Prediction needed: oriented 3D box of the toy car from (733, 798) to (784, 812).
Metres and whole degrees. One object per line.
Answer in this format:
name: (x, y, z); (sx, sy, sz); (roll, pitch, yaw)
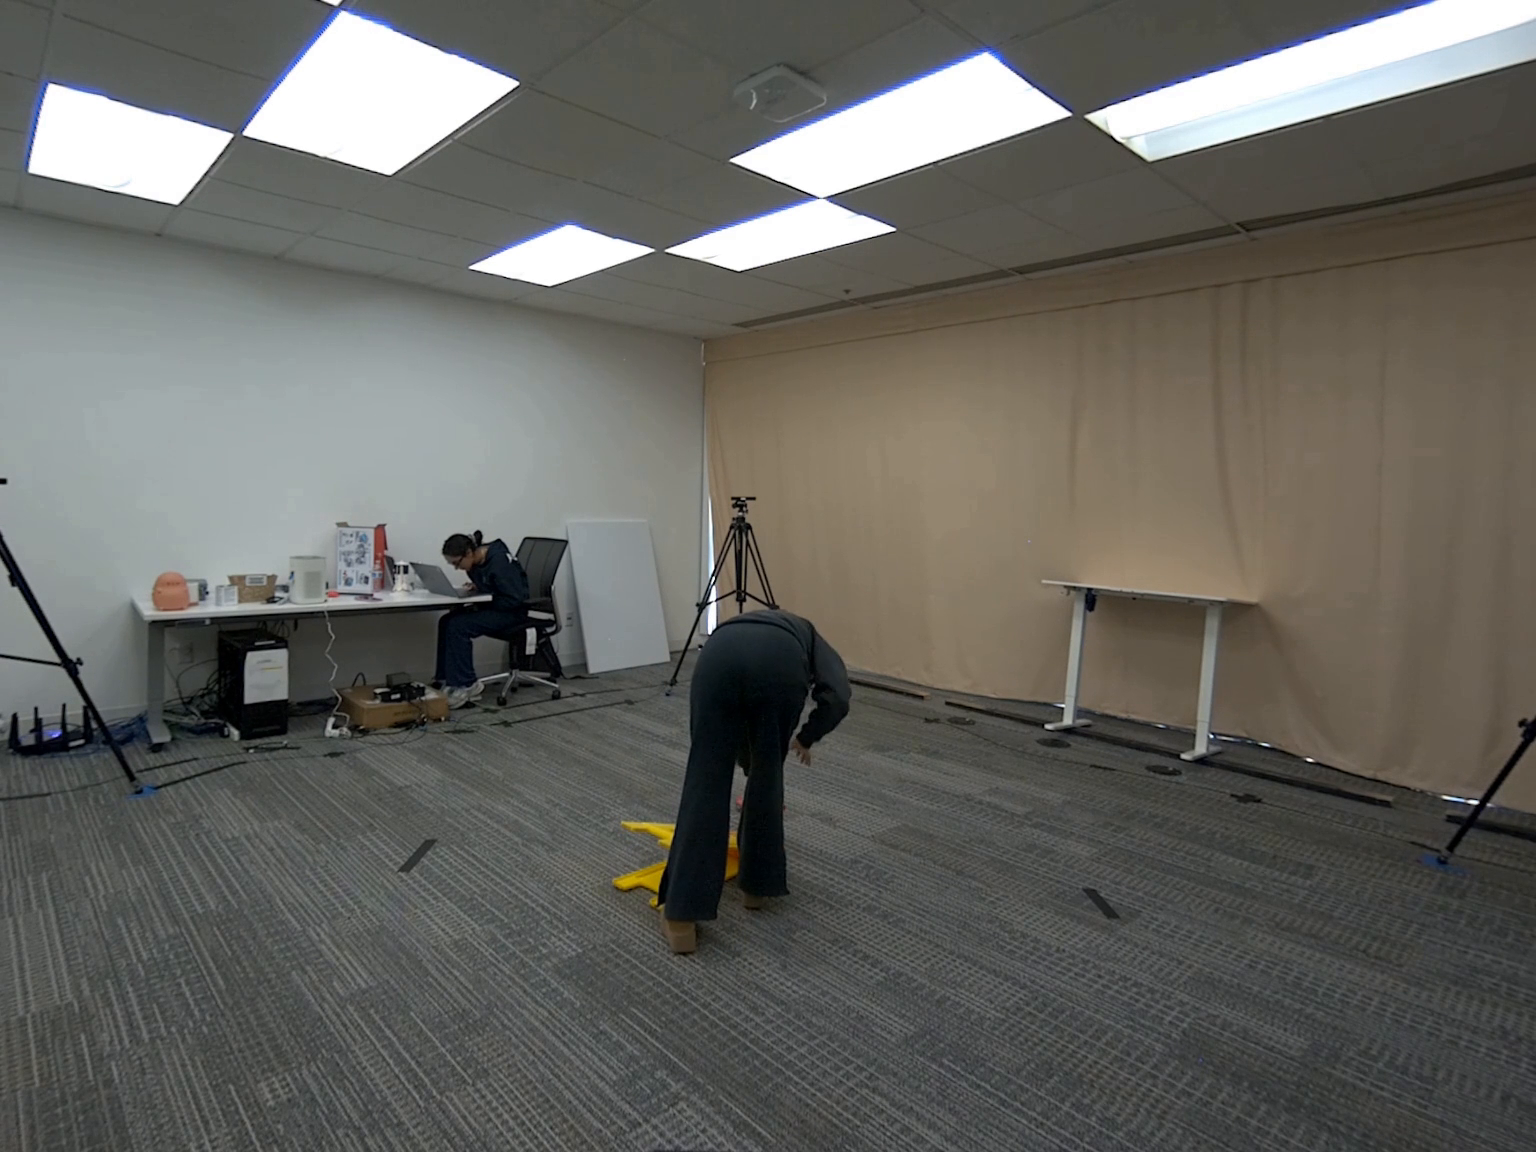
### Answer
toy car: (-0.025, 0.932, 3.372); (0.128, 0.083, 0.258); (-17, -1, -31)
